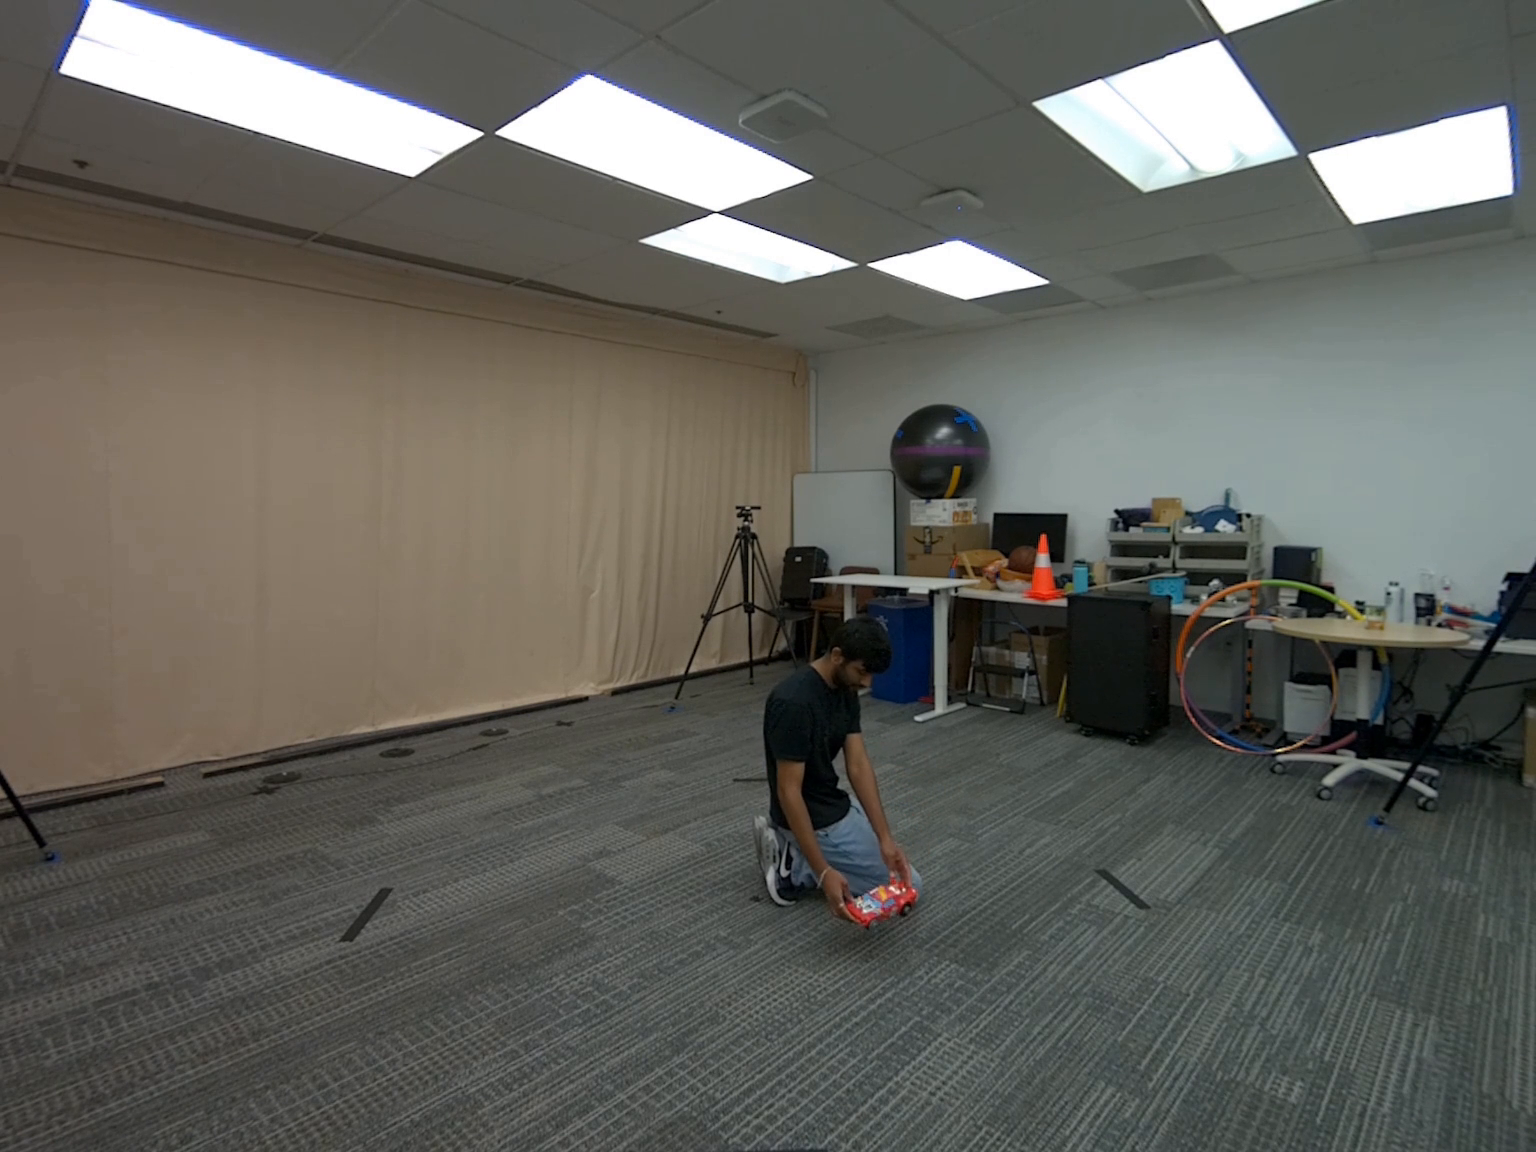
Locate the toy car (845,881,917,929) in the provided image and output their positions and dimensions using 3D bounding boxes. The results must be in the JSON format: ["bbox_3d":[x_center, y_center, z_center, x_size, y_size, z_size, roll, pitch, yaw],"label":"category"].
[{"bbox_3d":[0.364,1.018,2.639,0.249,0.082,0.135,-19,19,-34],"label":"toy car"}]
